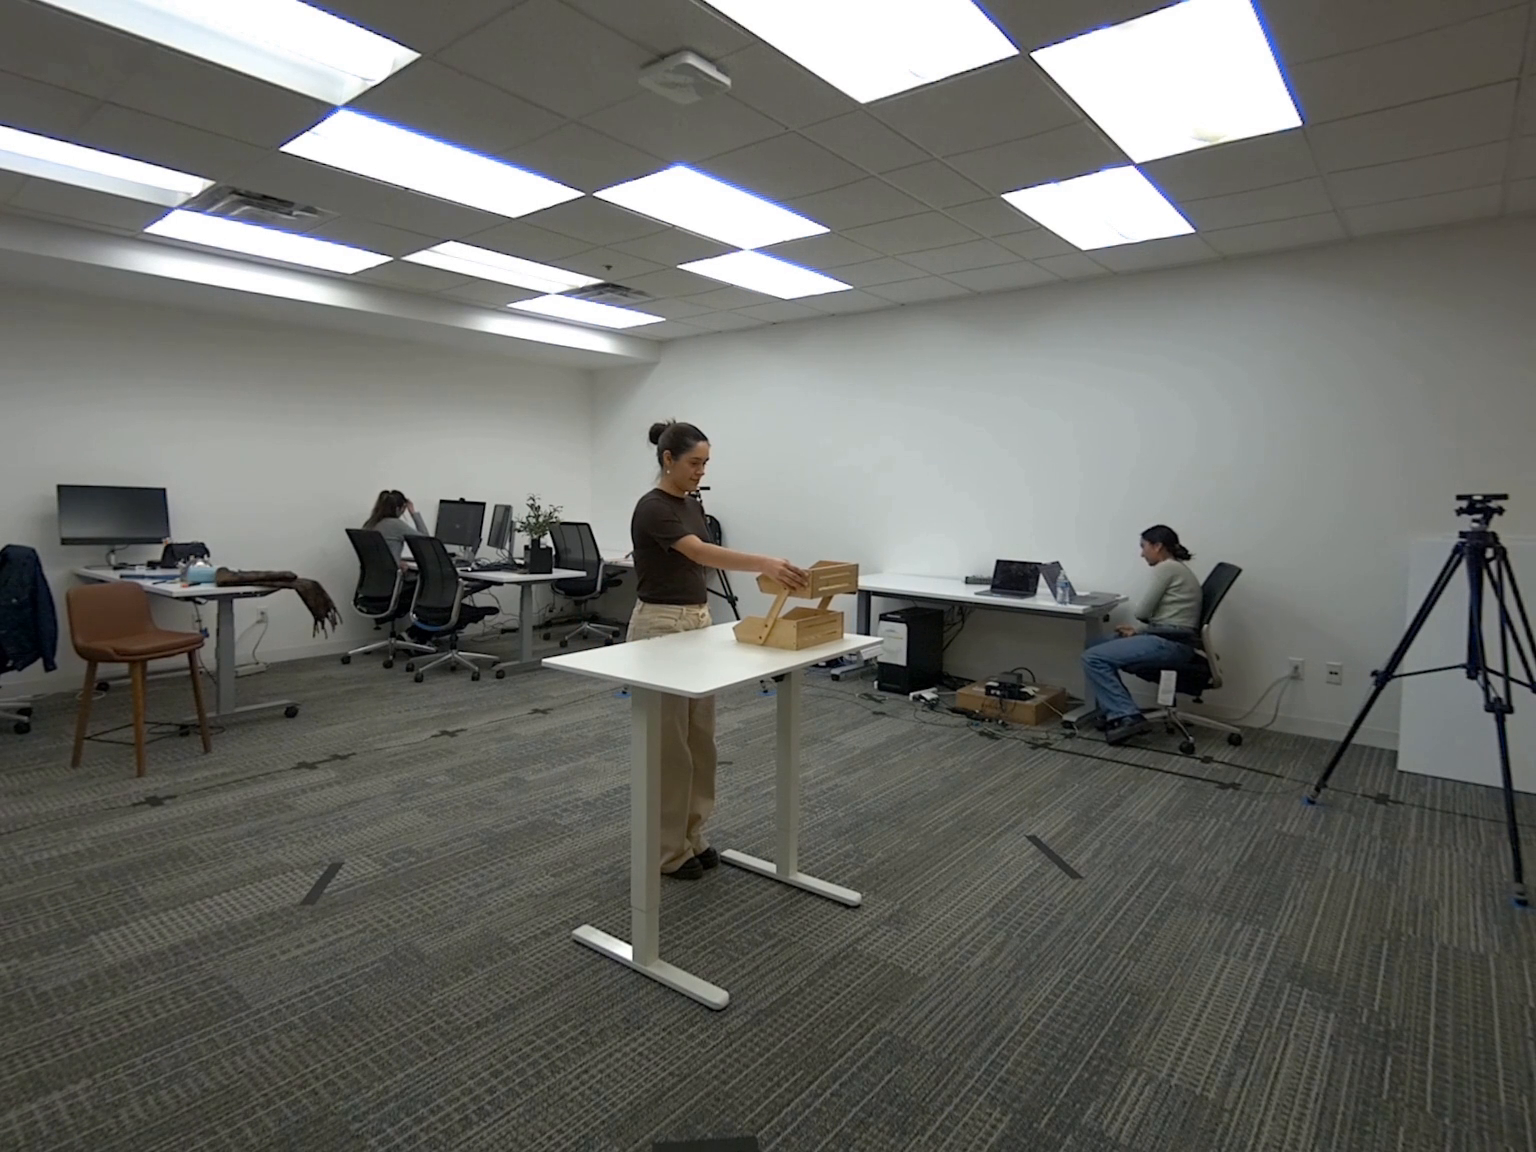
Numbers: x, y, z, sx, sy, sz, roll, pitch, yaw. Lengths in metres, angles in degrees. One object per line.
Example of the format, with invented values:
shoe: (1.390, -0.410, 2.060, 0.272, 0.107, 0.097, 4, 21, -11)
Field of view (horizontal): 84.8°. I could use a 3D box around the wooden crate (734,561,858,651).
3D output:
wooden crate: (0.083, 0.082, 2.829, 0.312, 0.272, 0.315, 6, 7, 36)
